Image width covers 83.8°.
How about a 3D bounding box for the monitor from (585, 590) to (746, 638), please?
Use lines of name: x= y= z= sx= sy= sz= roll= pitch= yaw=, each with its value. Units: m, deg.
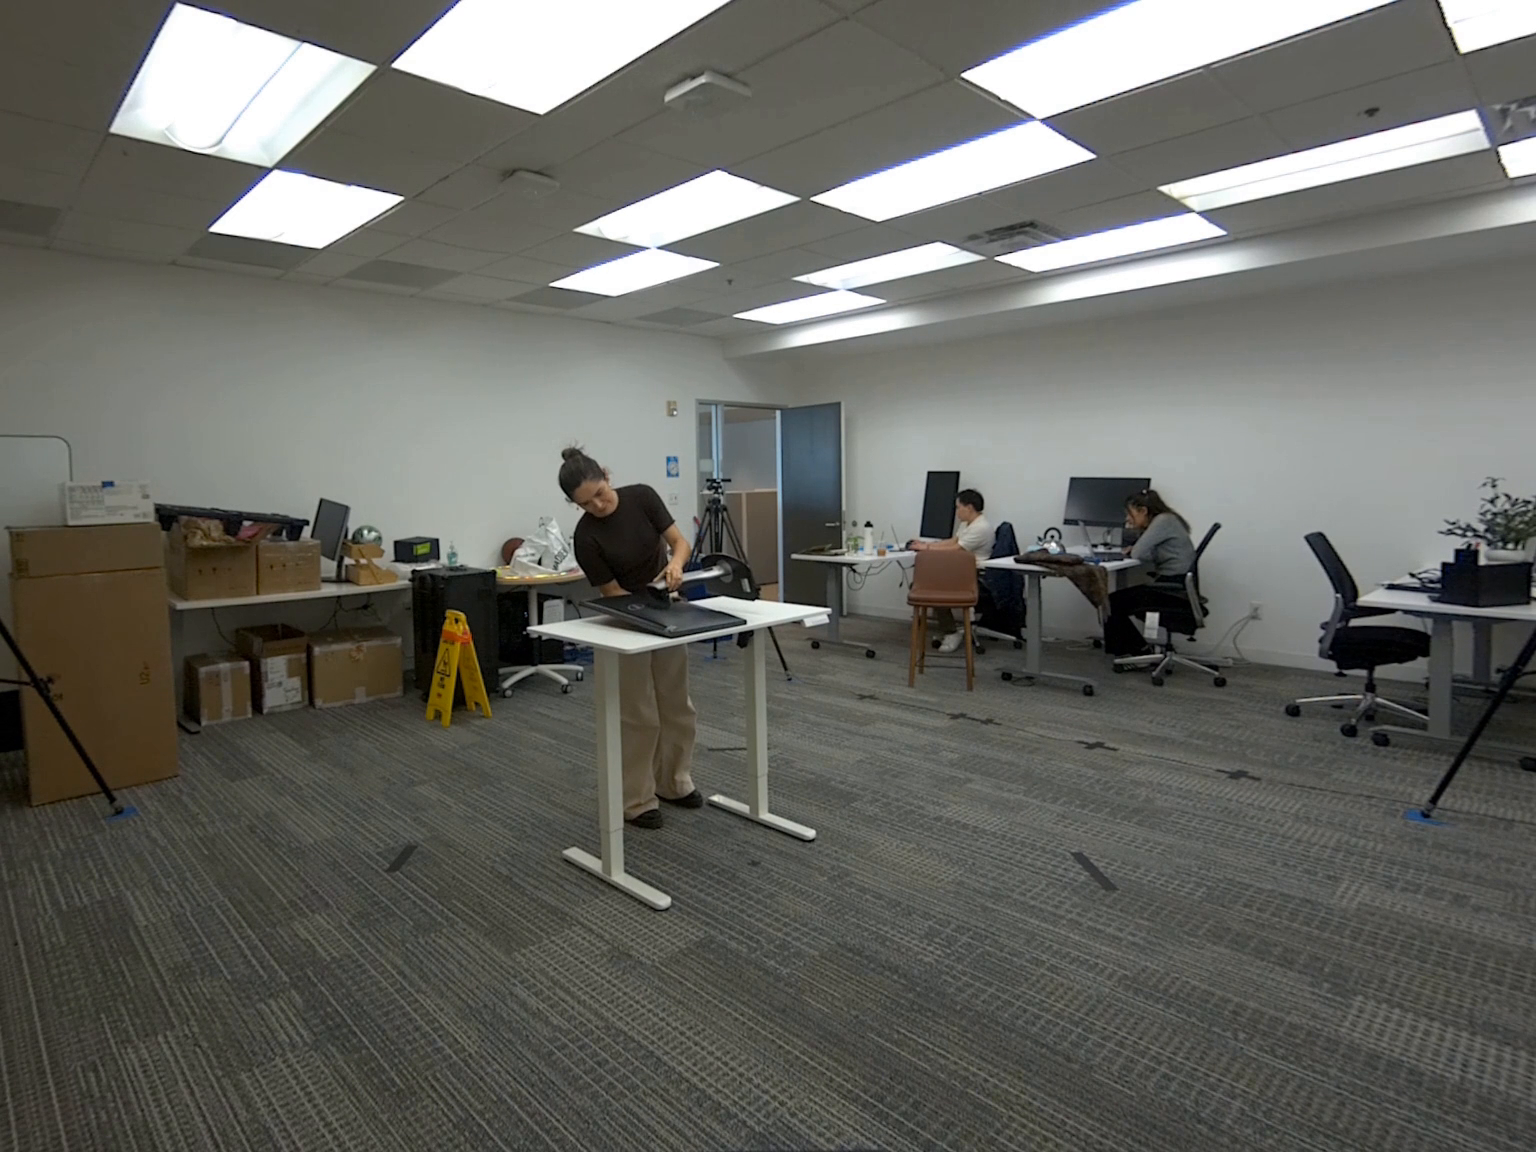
monitor: x=-0.318 y=0.077 z=3.130 sx=0.514 sy=0.184 sz=0.557 roll=-25 pitch=23 yaw=-39
